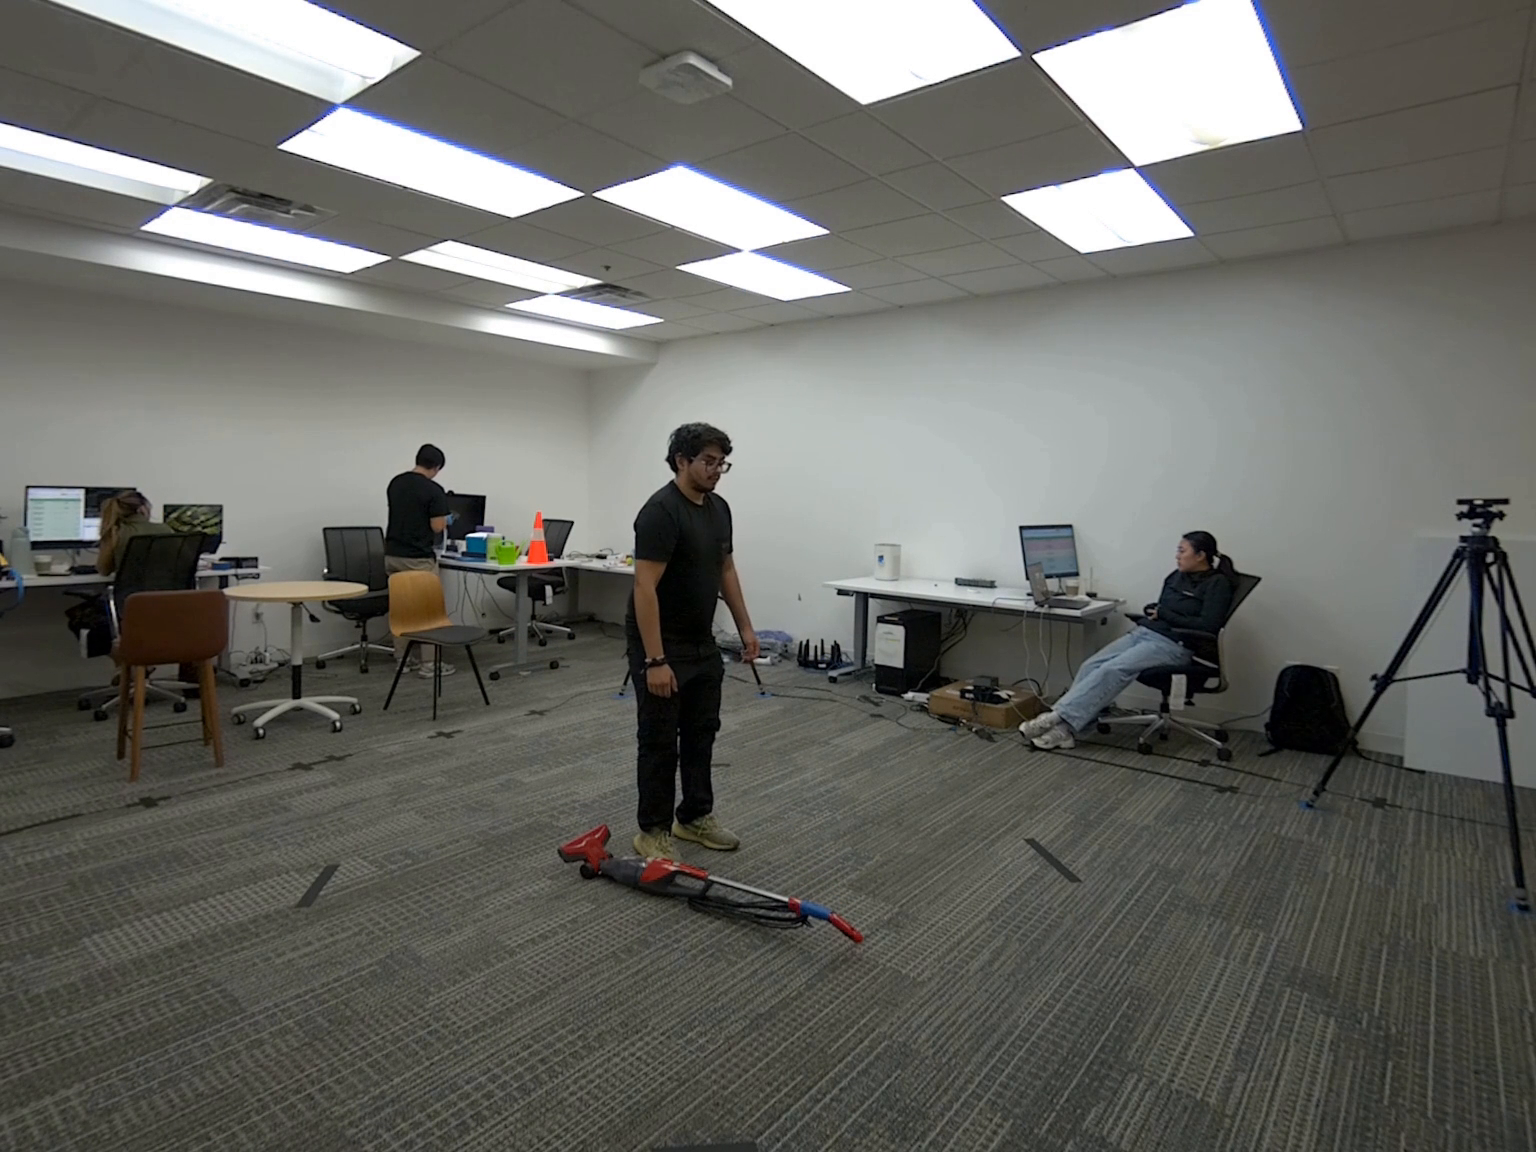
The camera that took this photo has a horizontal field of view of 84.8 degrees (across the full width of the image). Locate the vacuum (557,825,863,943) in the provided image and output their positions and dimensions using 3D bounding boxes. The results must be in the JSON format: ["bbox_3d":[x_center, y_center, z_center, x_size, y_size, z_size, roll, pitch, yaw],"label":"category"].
[{"bbox_3d":[-0.198,1.039,2.804,1.081,0.143,0.246,5,7,31],"label":"vacuum"}]
